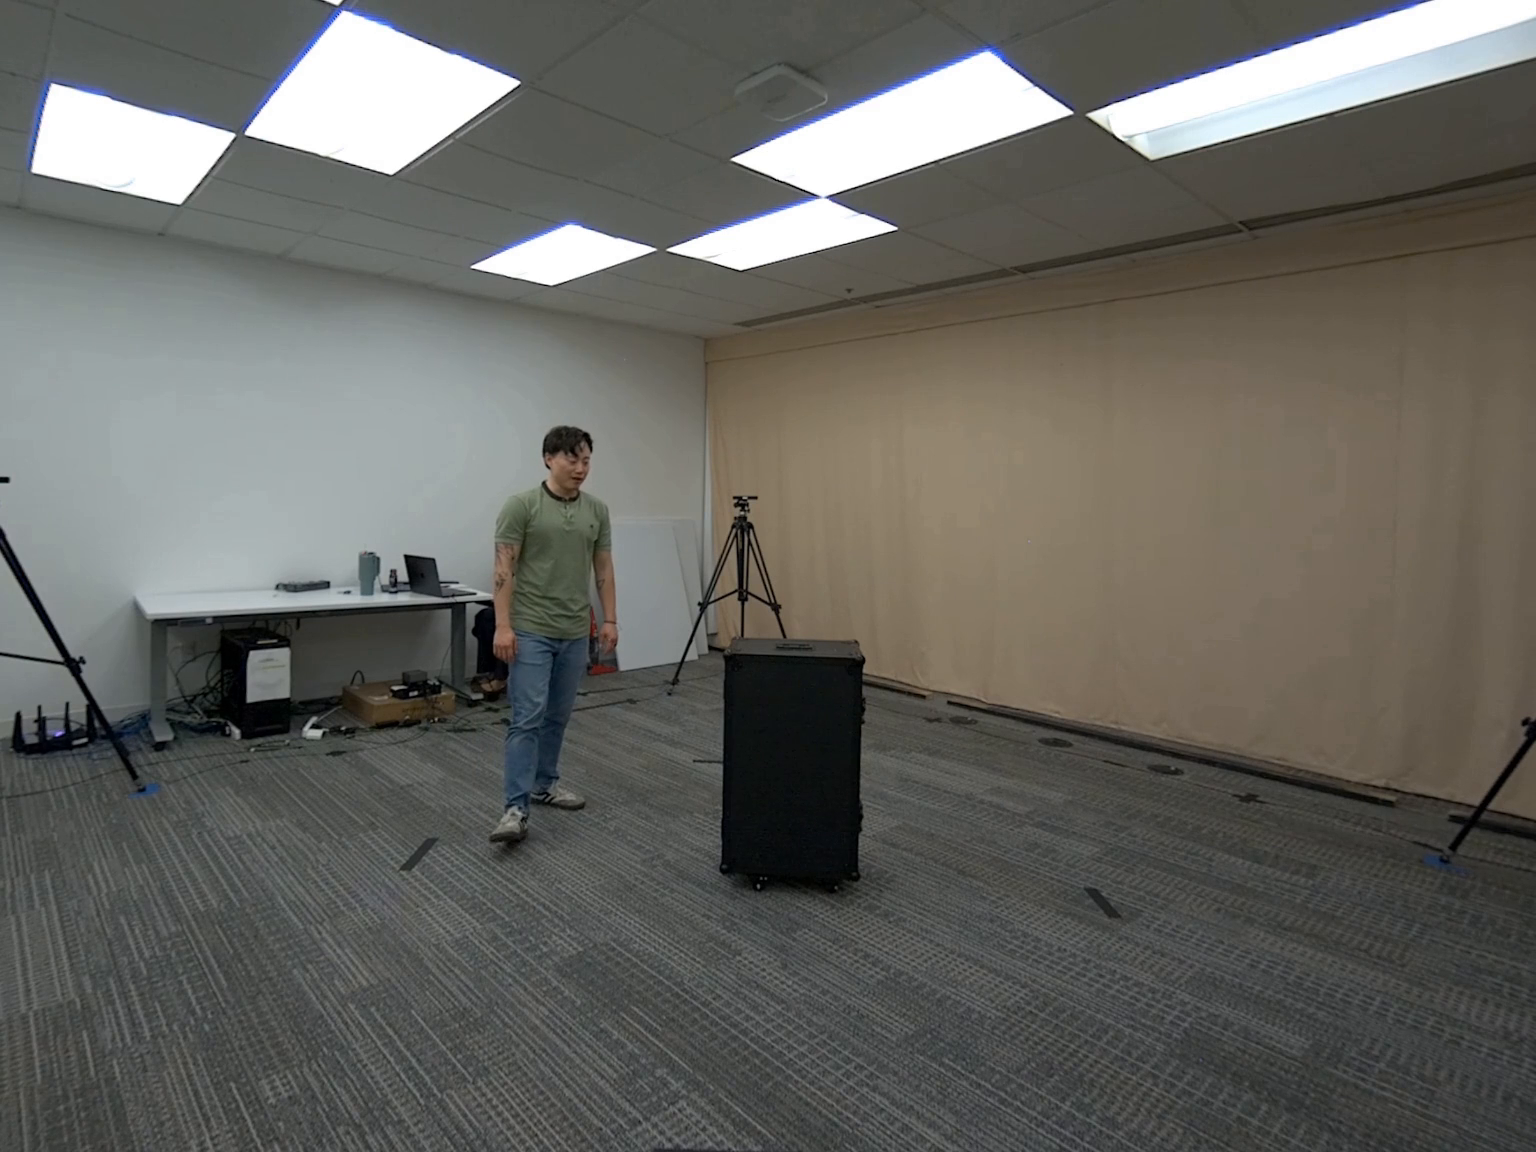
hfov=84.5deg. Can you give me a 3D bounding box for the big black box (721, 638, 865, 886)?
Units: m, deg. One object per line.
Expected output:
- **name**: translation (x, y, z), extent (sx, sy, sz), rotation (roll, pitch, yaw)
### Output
- **big black box**: translation (0.079, 0.684, 3.102), extent (0.523, 0.860, 0.395), rotation (1, 3, 5)
